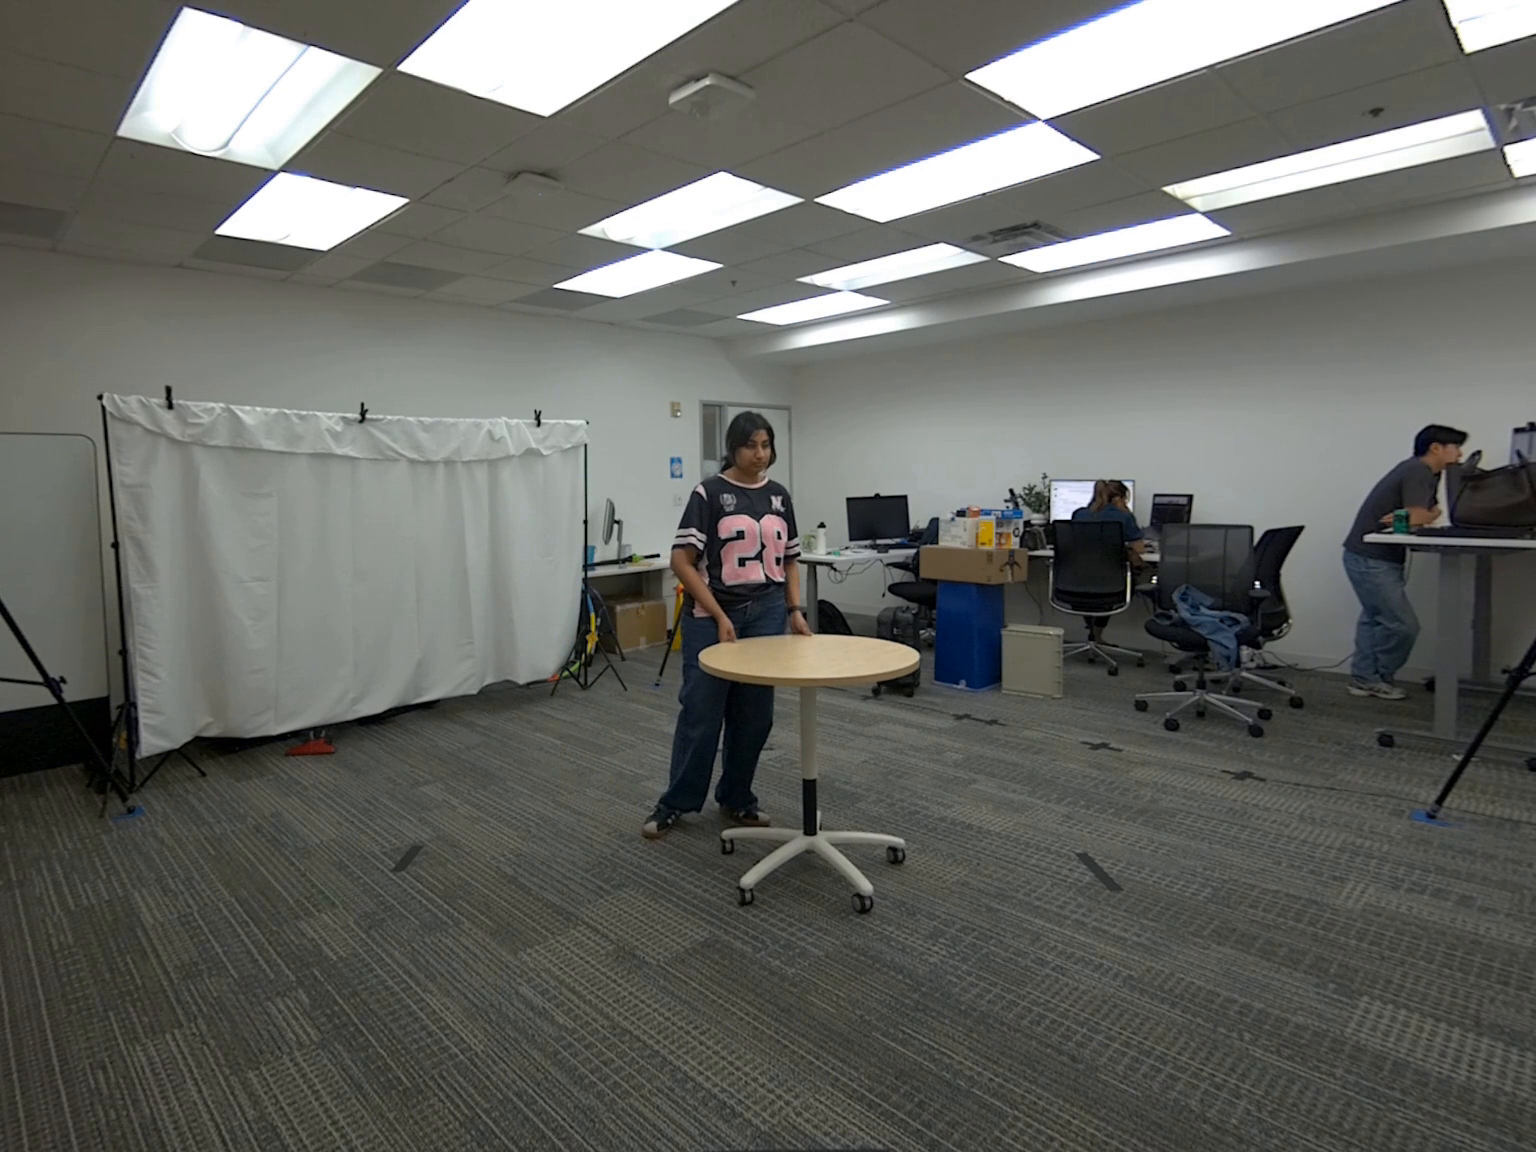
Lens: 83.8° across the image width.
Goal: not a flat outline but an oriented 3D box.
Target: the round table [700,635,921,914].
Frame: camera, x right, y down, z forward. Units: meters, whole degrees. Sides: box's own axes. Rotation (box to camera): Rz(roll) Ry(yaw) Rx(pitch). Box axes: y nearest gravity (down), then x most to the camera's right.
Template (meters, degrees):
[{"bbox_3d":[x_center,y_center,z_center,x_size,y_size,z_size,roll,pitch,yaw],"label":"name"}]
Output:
[{"bbox_3d":[0.154,0.665,2.990,0.784,0.784,0.789,-1,4,-2],"label":"round table"}]
